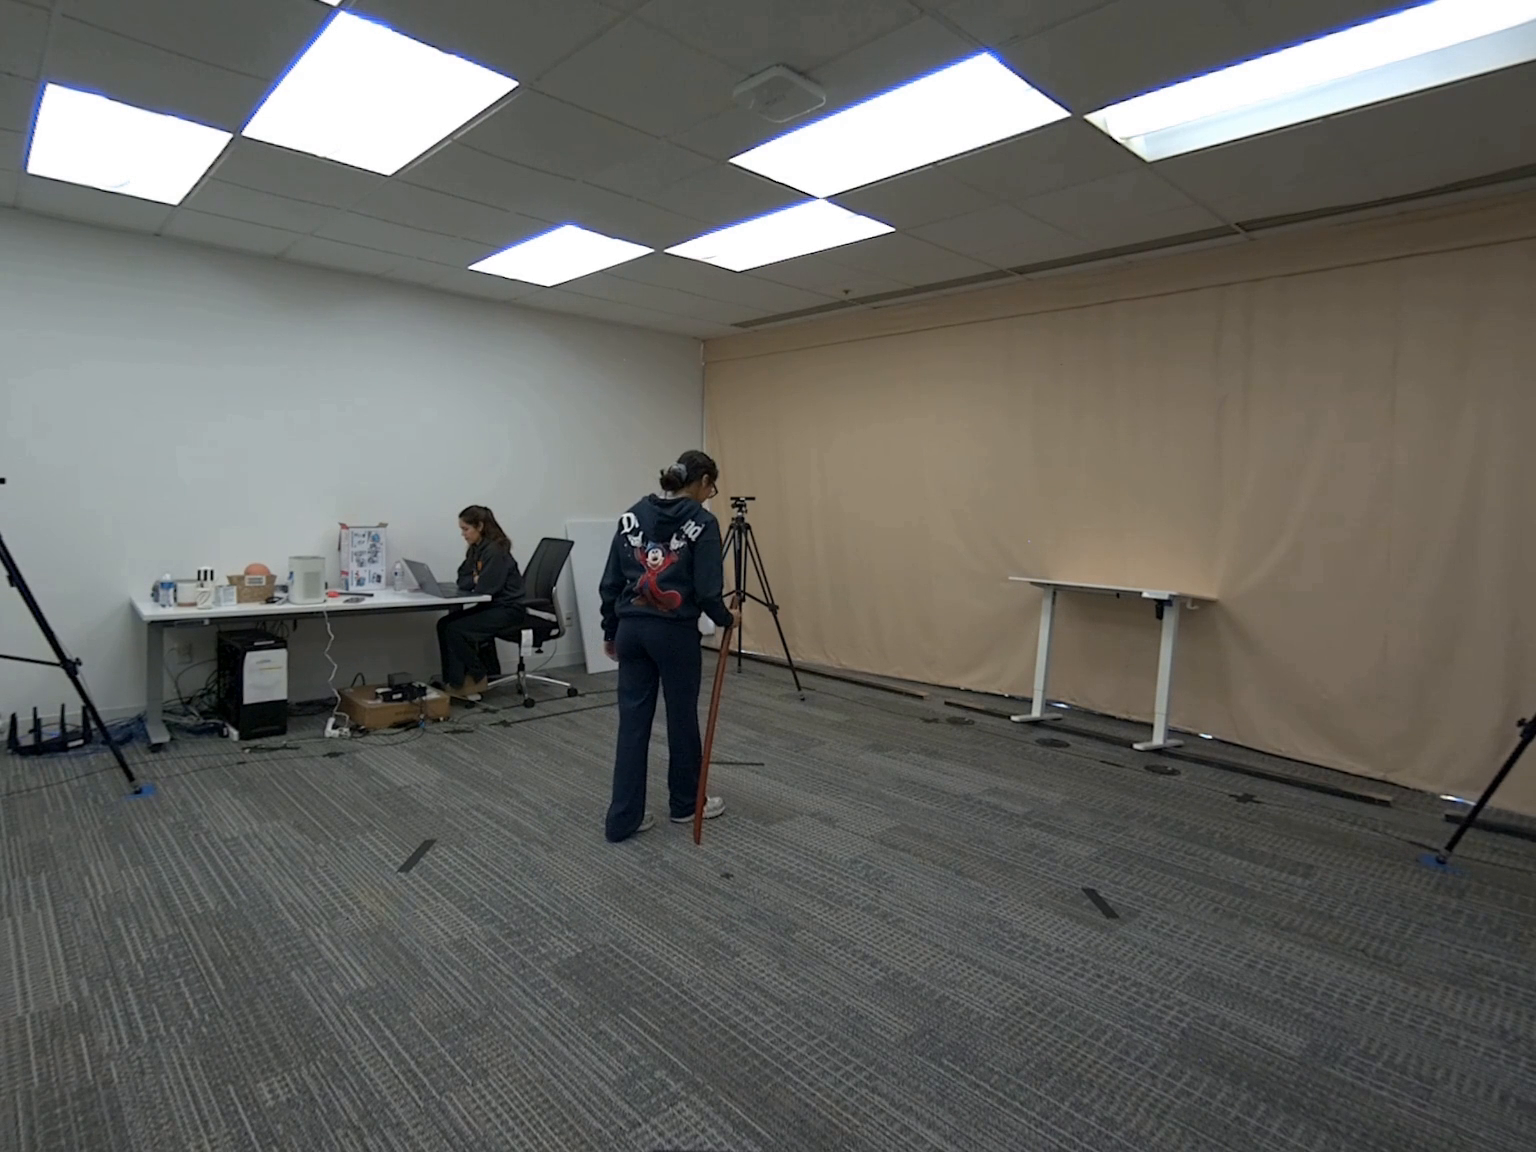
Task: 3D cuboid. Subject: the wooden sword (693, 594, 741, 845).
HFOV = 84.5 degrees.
[{"bbox_3d":[-0.226,0.608,3.498,0.050,1.033,0.024,16,-16,-23],"label":"wooden sword"}]
